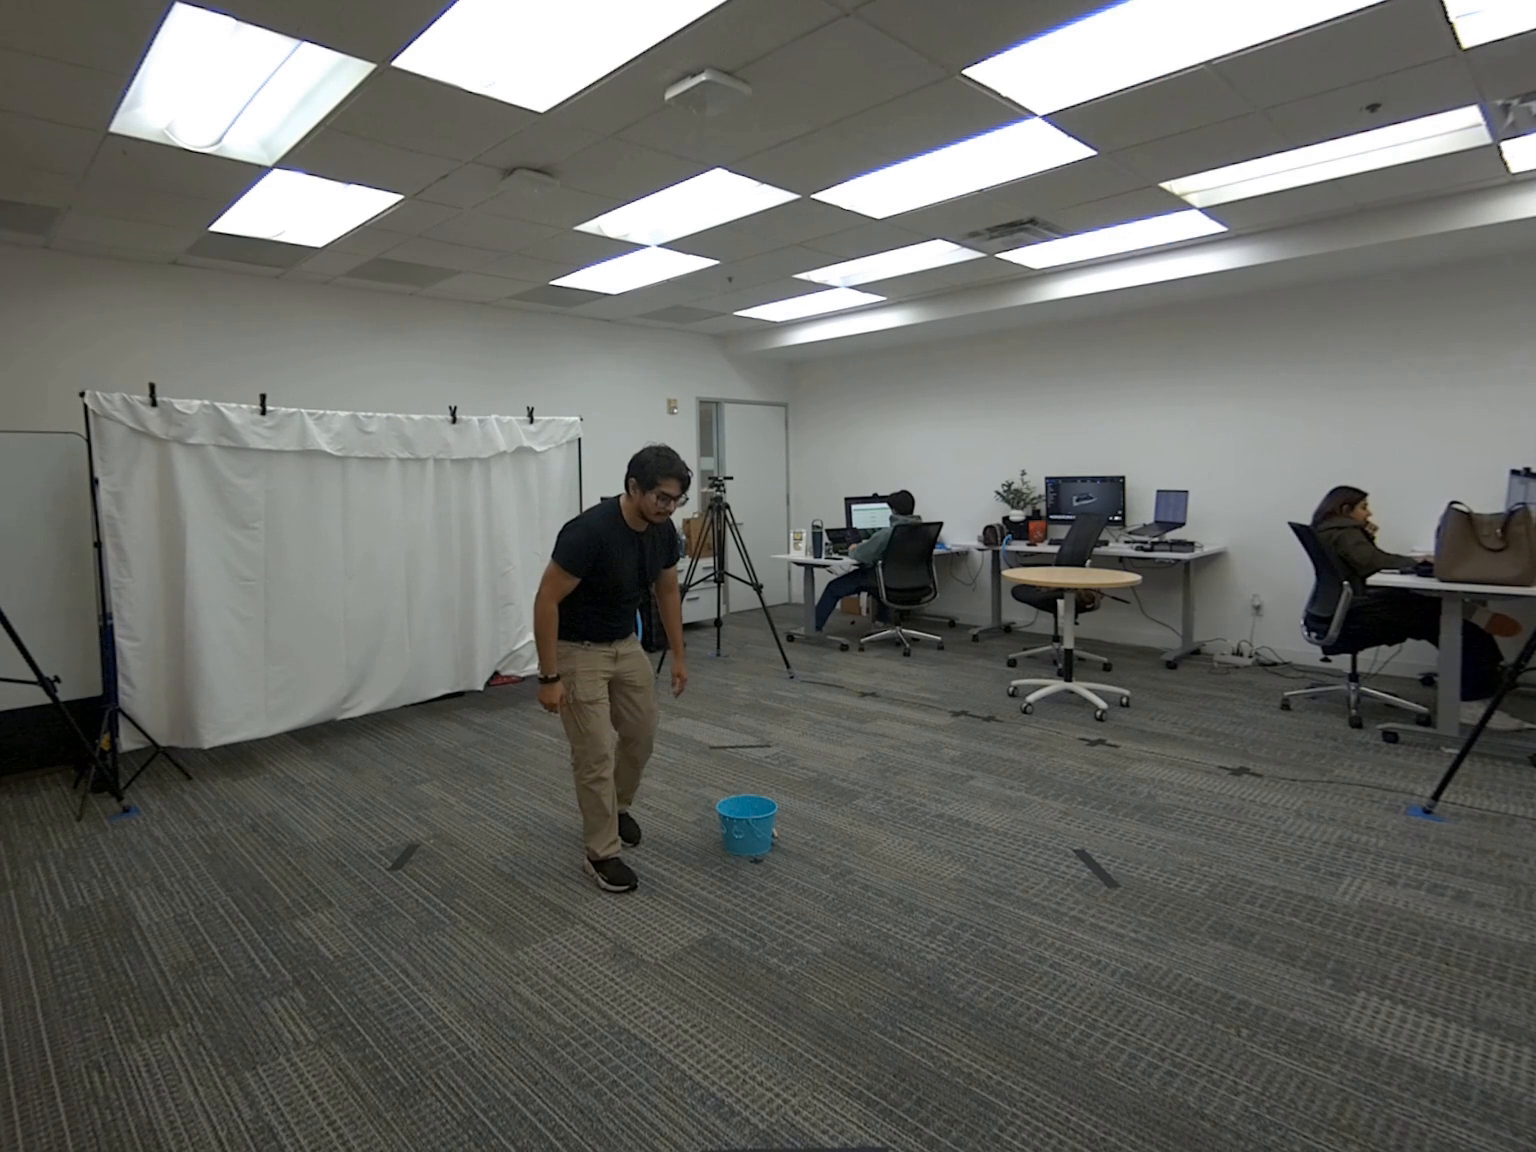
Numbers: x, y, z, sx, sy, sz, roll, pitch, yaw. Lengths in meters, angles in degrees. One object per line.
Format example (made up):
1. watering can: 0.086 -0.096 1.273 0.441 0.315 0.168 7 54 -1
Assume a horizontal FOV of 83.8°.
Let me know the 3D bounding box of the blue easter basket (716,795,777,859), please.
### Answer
1. blue easter basket: -0.070 0.941 3.228 0.243 0.155 0.245 -1 6 -2
